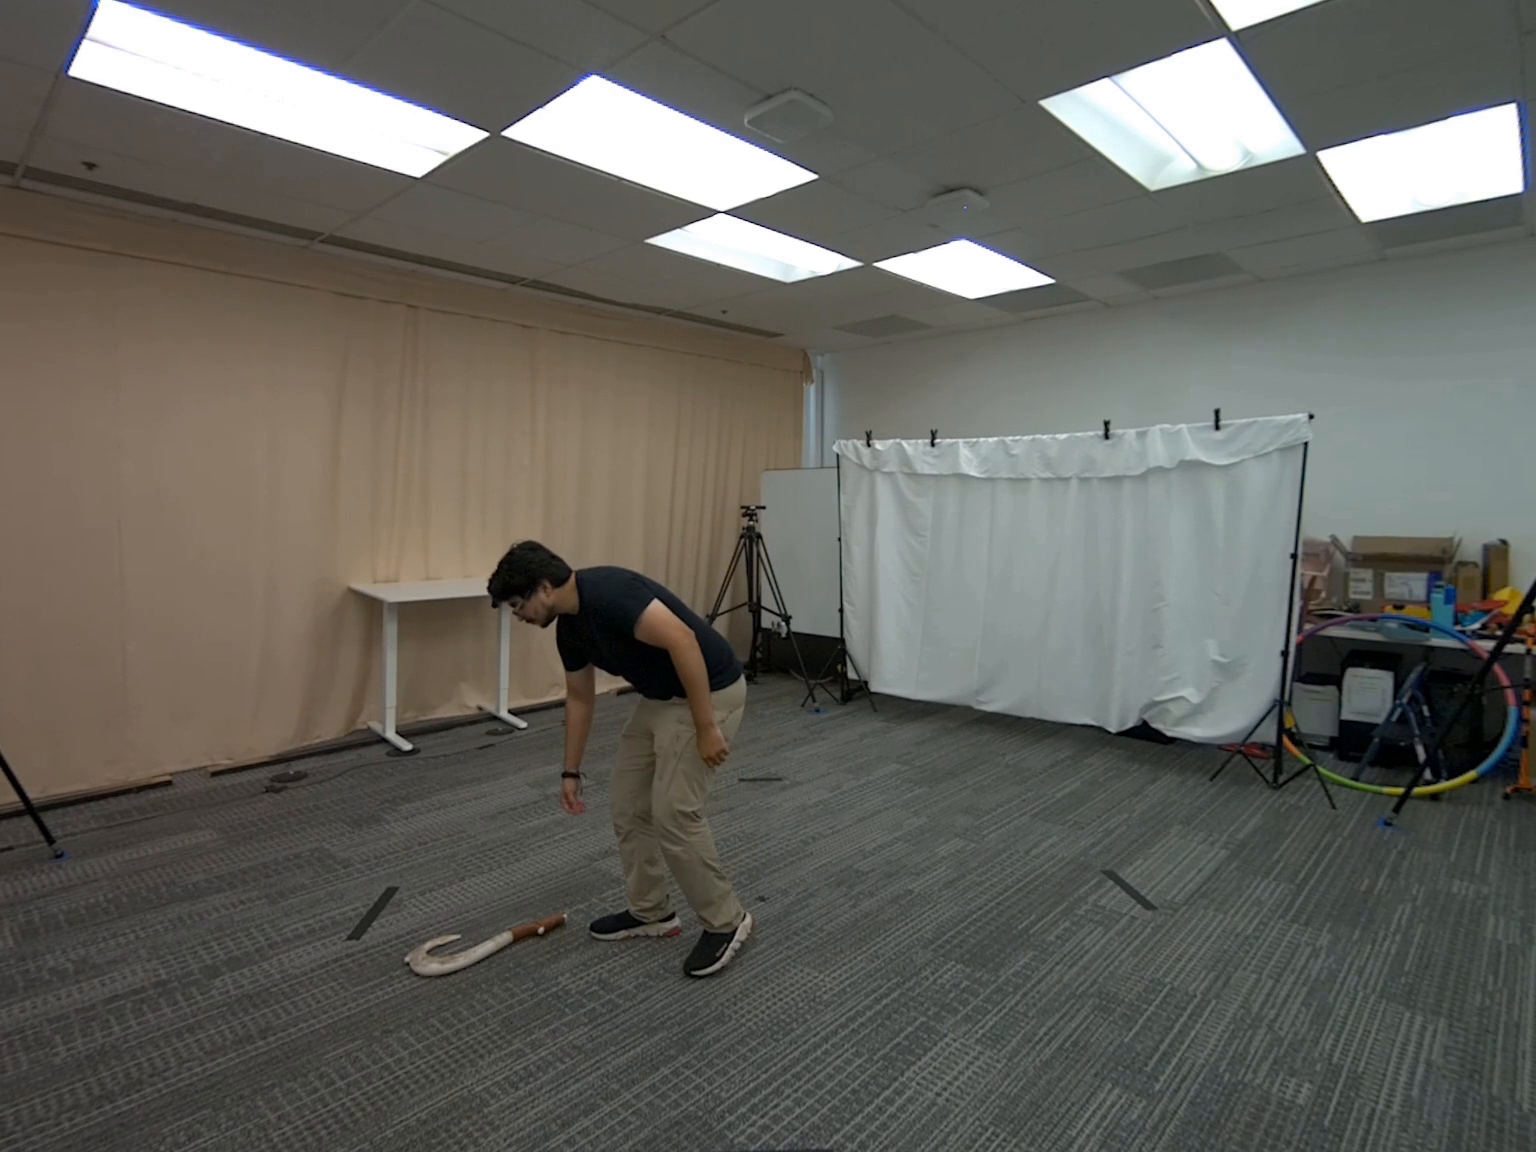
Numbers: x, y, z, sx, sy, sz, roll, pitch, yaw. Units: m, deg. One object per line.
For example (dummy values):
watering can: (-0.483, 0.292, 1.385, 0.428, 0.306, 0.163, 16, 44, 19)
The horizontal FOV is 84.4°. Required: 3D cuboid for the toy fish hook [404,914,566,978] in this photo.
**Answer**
toy fish hook: (-0.897, 1.160, 2.688, 0.491, 0.048, 0.232, -3, 6, -40)
